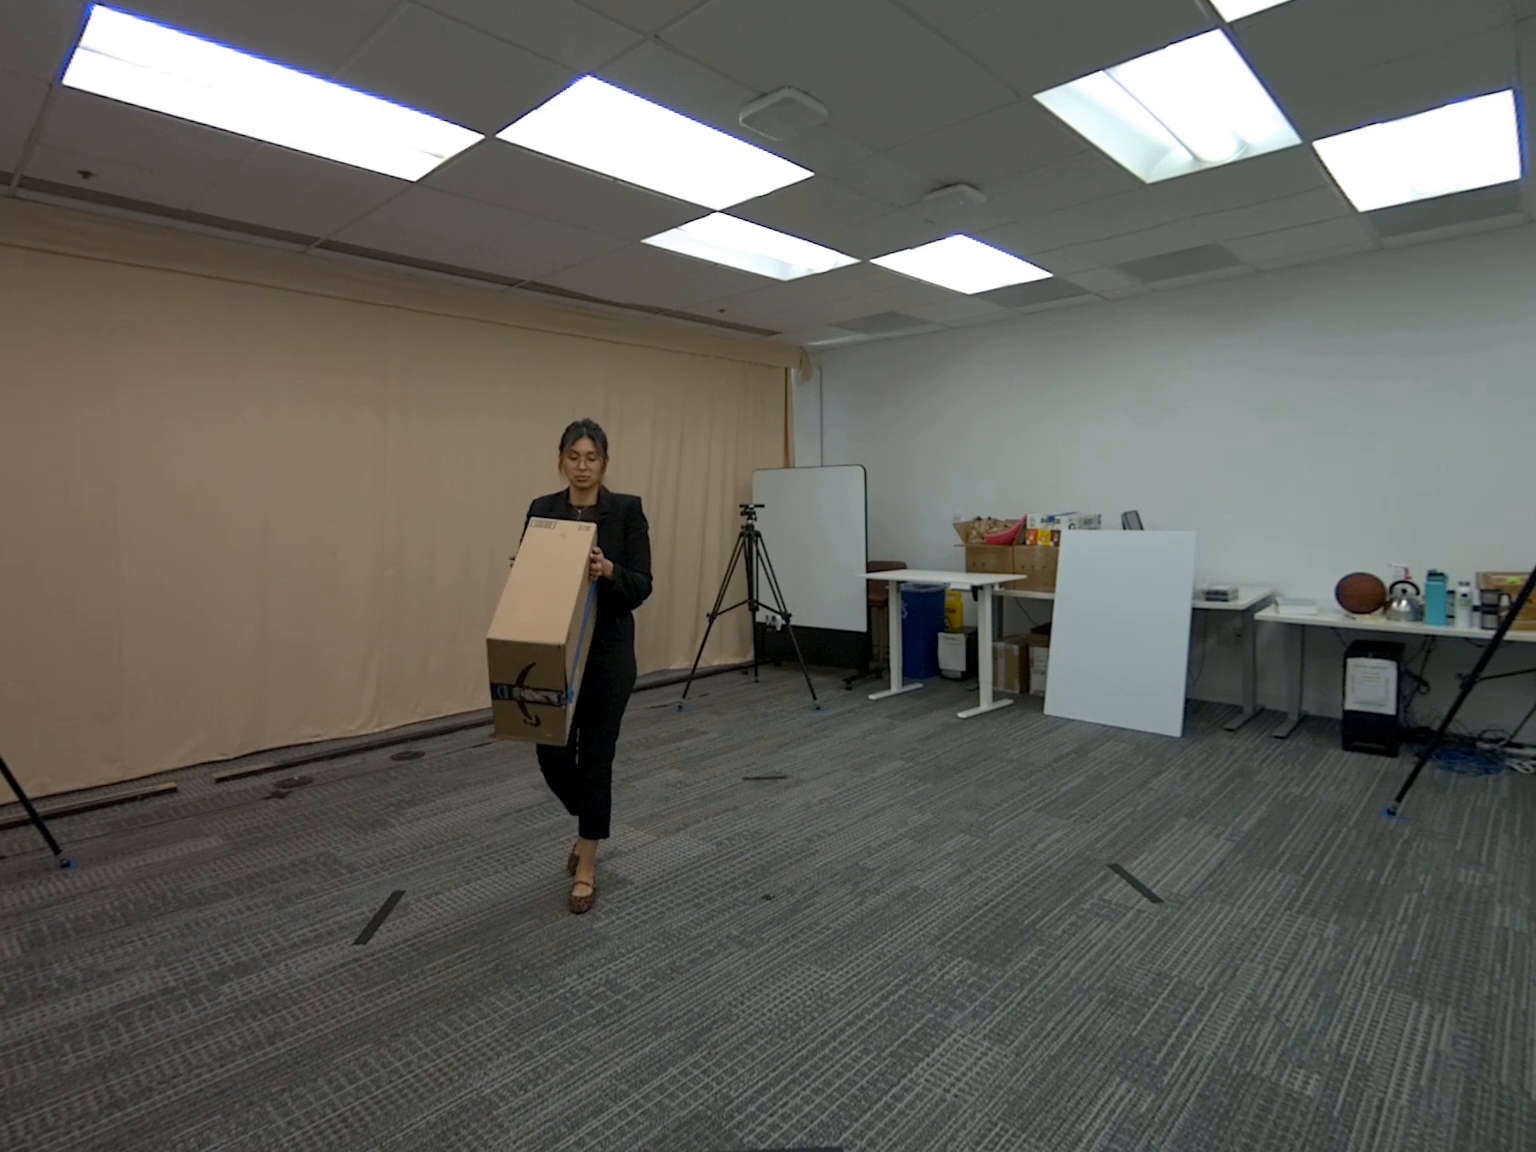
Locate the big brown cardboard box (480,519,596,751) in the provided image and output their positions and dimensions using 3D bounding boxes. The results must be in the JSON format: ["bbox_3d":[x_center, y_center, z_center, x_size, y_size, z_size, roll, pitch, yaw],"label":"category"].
[{"bbox_3d":[-0.675,0.168,2.615,0.232,0.412,0.599,6,39,-4],"label":"big brown cardboard box"}]
